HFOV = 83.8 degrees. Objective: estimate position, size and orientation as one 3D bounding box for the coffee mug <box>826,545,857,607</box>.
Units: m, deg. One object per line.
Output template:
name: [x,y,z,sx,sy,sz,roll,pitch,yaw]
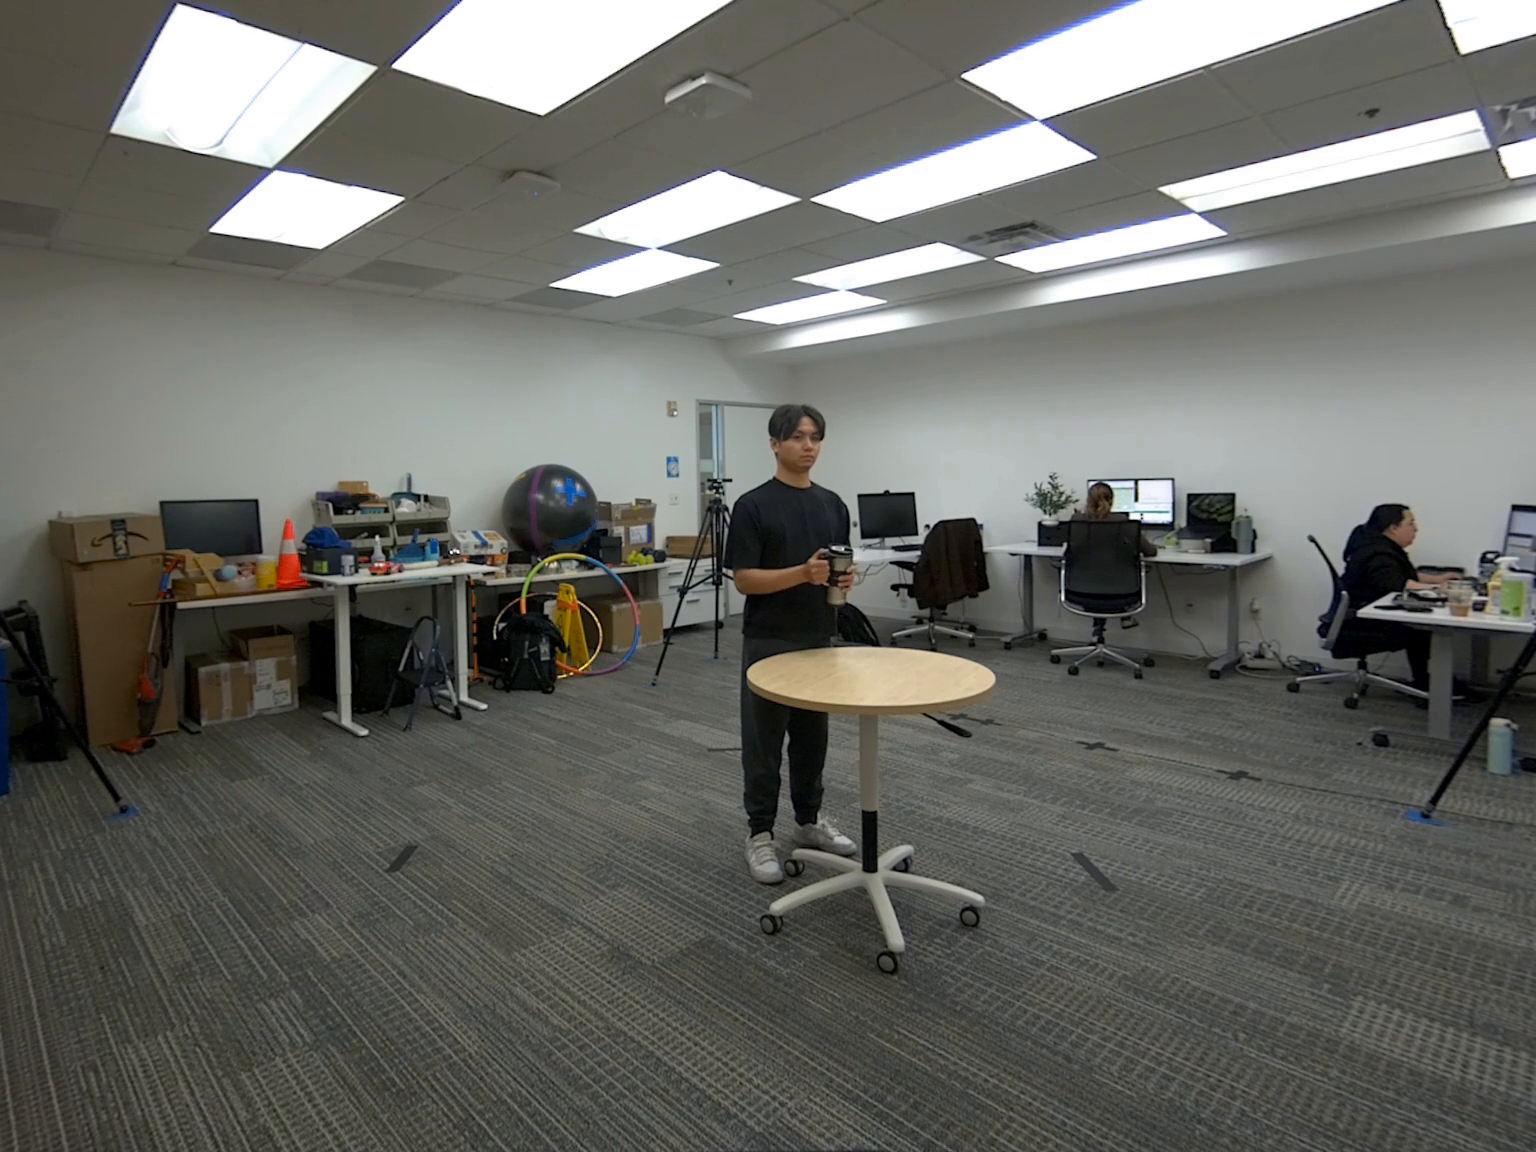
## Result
coffee mug: [0.206,0.004,2.907,0.126,0.200,0.086,16,21,32]
